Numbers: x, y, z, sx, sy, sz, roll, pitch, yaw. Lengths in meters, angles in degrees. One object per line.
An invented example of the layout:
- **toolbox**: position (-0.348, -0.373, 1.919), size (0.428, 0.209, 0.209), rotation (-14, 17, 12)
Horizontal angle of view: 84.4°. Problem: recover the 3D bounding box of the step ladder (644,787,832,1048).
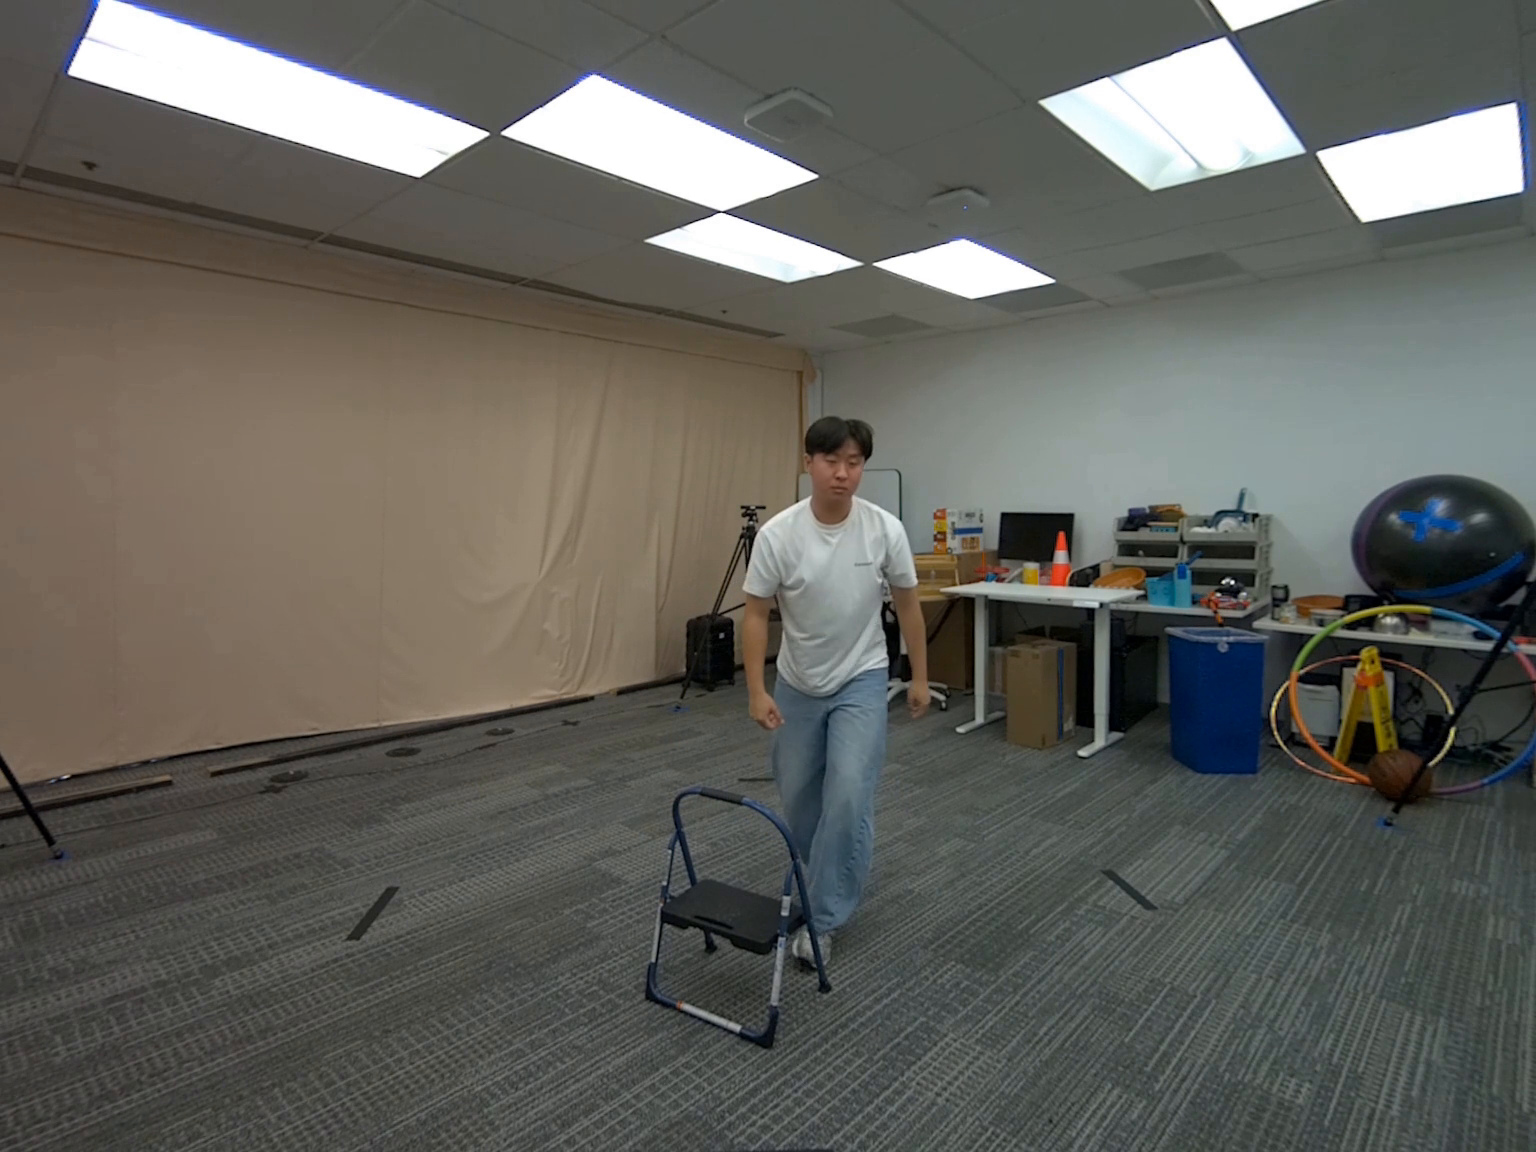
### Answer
- **step ladder**: position (-0.089, 0.893, 2.387), size (0.443, 0.605, 0.340), rotation (2, 4, 32)
